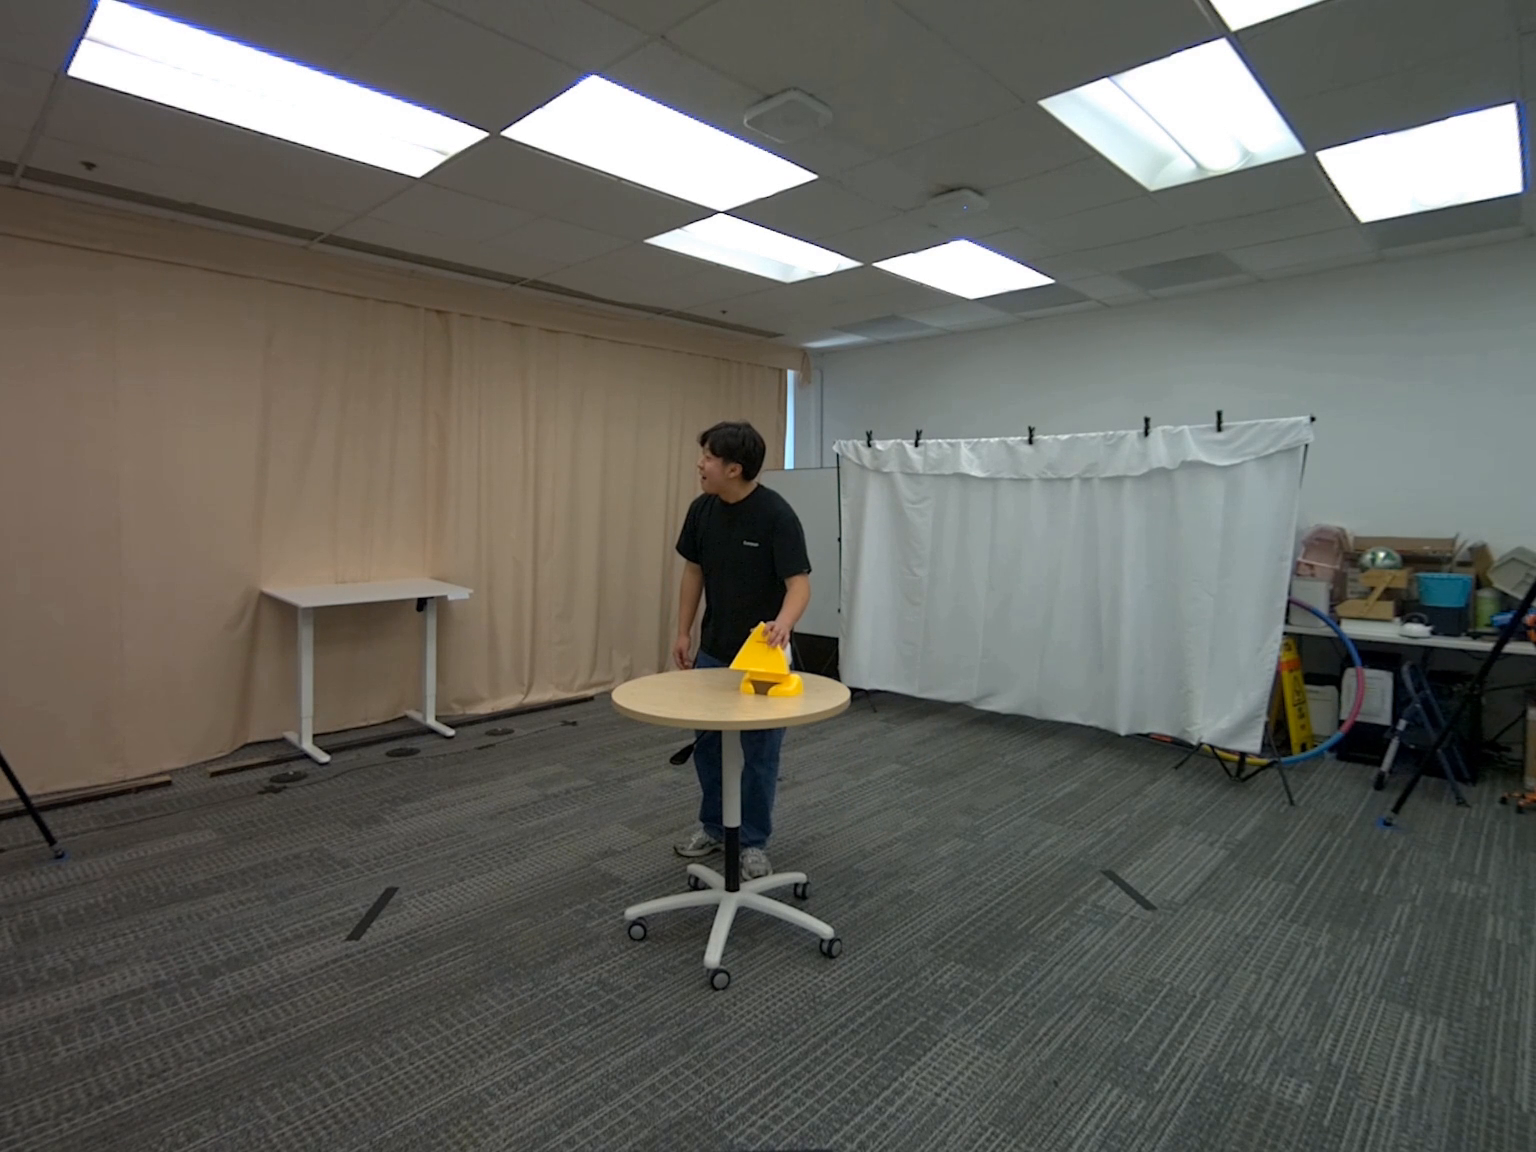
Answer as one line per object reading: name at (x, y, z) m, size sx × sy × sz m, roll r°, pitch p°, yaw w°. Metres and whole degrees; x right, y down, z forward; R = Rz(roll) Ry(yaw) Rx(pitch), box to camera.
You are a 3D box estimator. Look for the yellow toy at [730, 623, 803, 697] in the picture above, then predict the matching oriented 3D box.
yellow toy at (0.008, 0.256, 2.711) m, size 0.210 × 0.230 × 0.188 m, roll 2°, pitch 4°, yaw 27°
